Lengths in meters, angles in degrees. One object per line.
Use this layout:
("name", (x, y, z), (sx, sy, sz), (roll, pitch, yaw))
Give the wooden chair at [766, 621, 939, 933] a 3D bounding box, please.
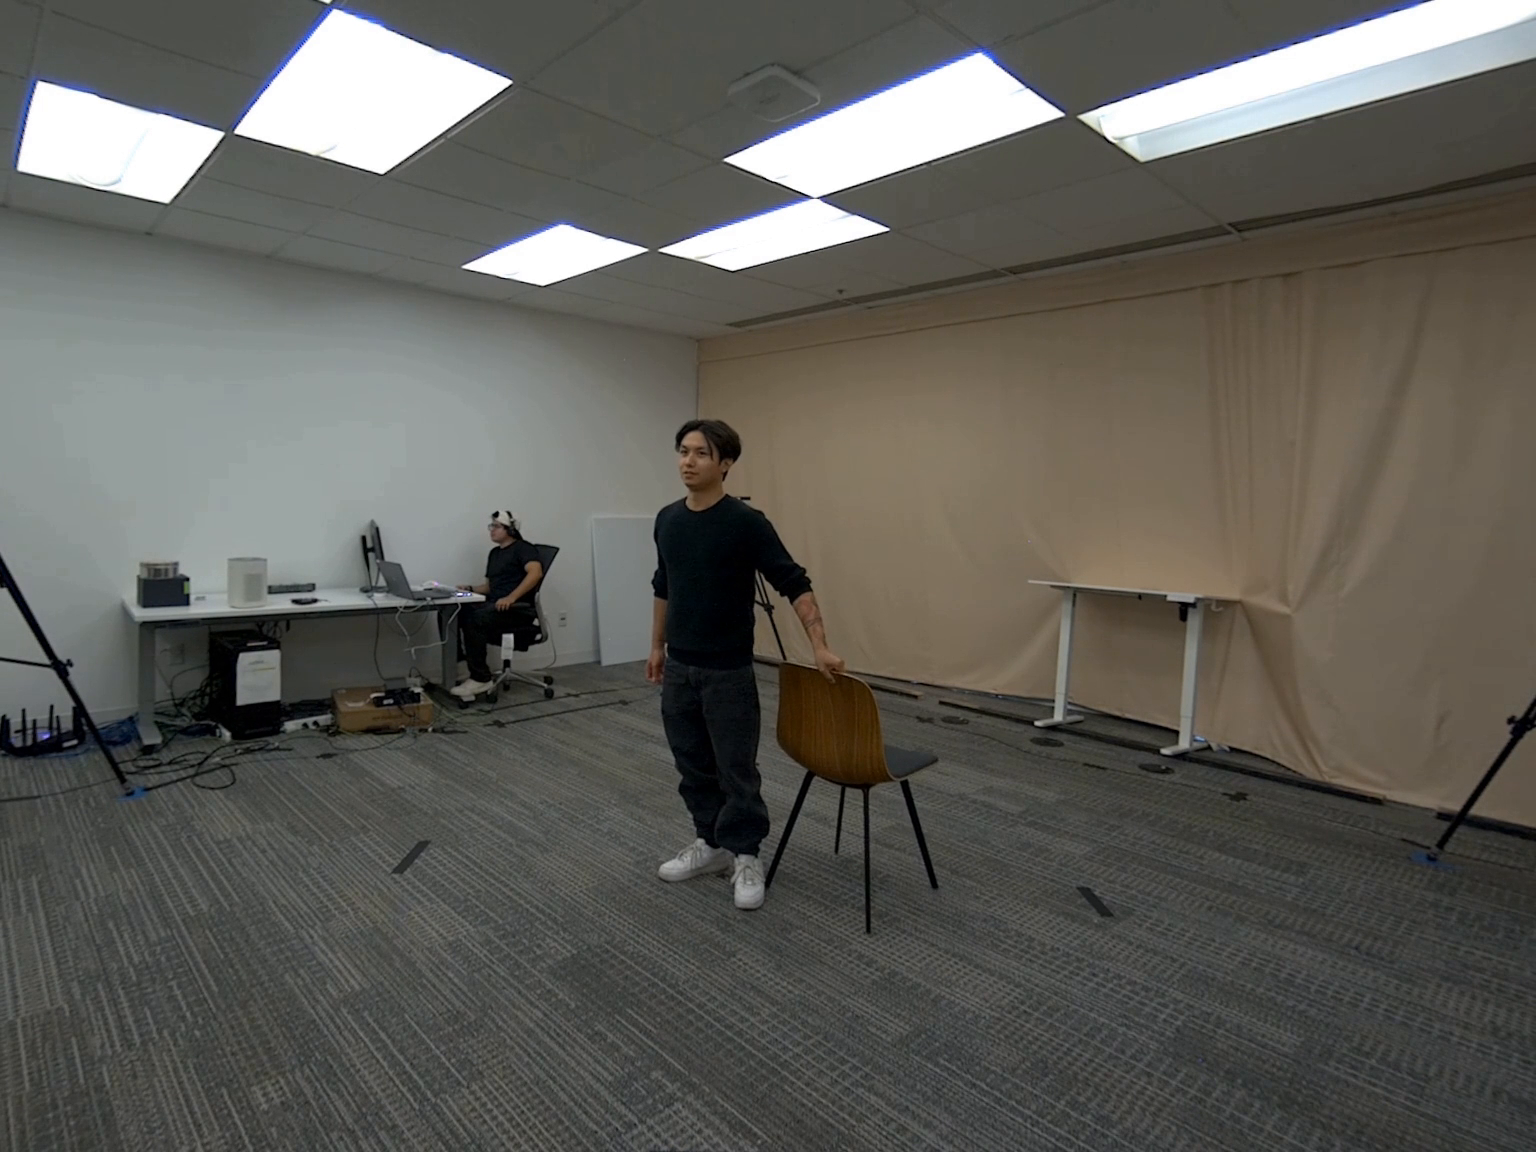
("wooden chair", (0.311, 0.696, 2.997), (0.490, 0.872, 0.513), (5, 10, 41))
